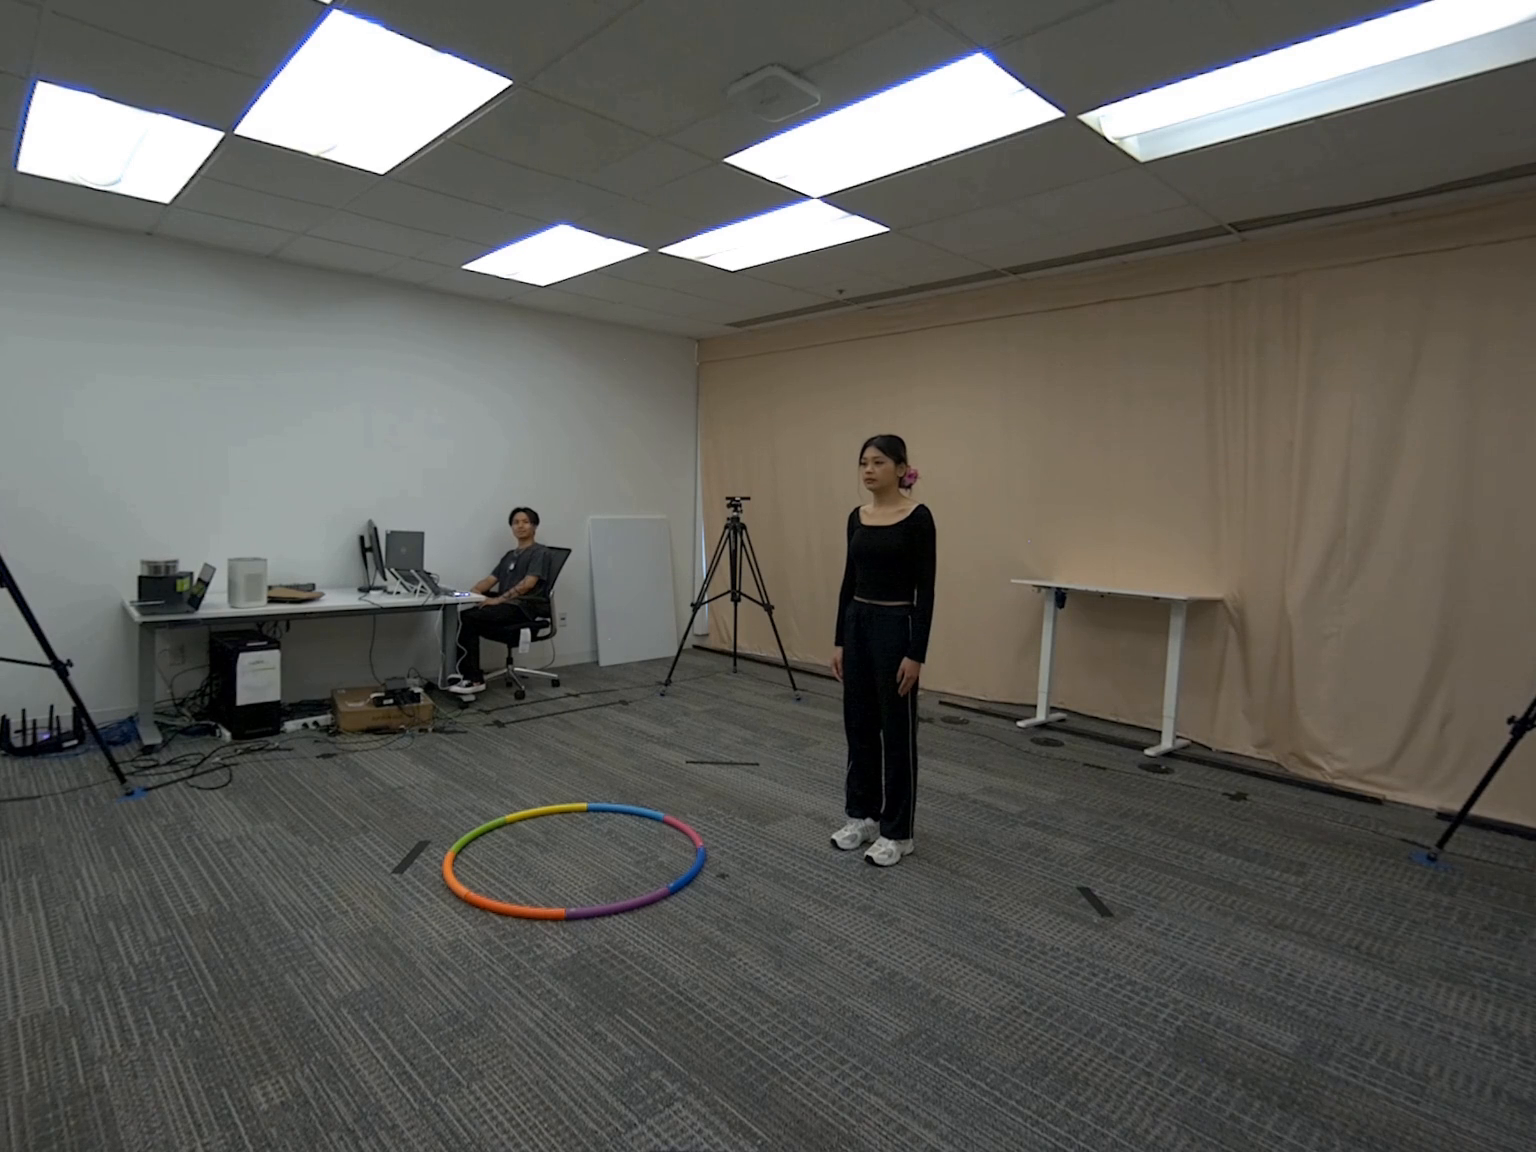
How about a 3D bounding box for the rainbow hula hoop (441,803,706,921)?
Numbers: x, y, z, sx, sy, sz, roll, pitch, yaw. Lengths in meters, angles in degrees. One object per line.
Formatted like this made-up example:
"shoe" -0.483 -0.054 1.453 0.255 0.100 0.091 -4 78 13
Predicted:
"rainbow hula hoop" -0.733 1.054 3.231 0.978 0.035 0.982 2 5 -2
